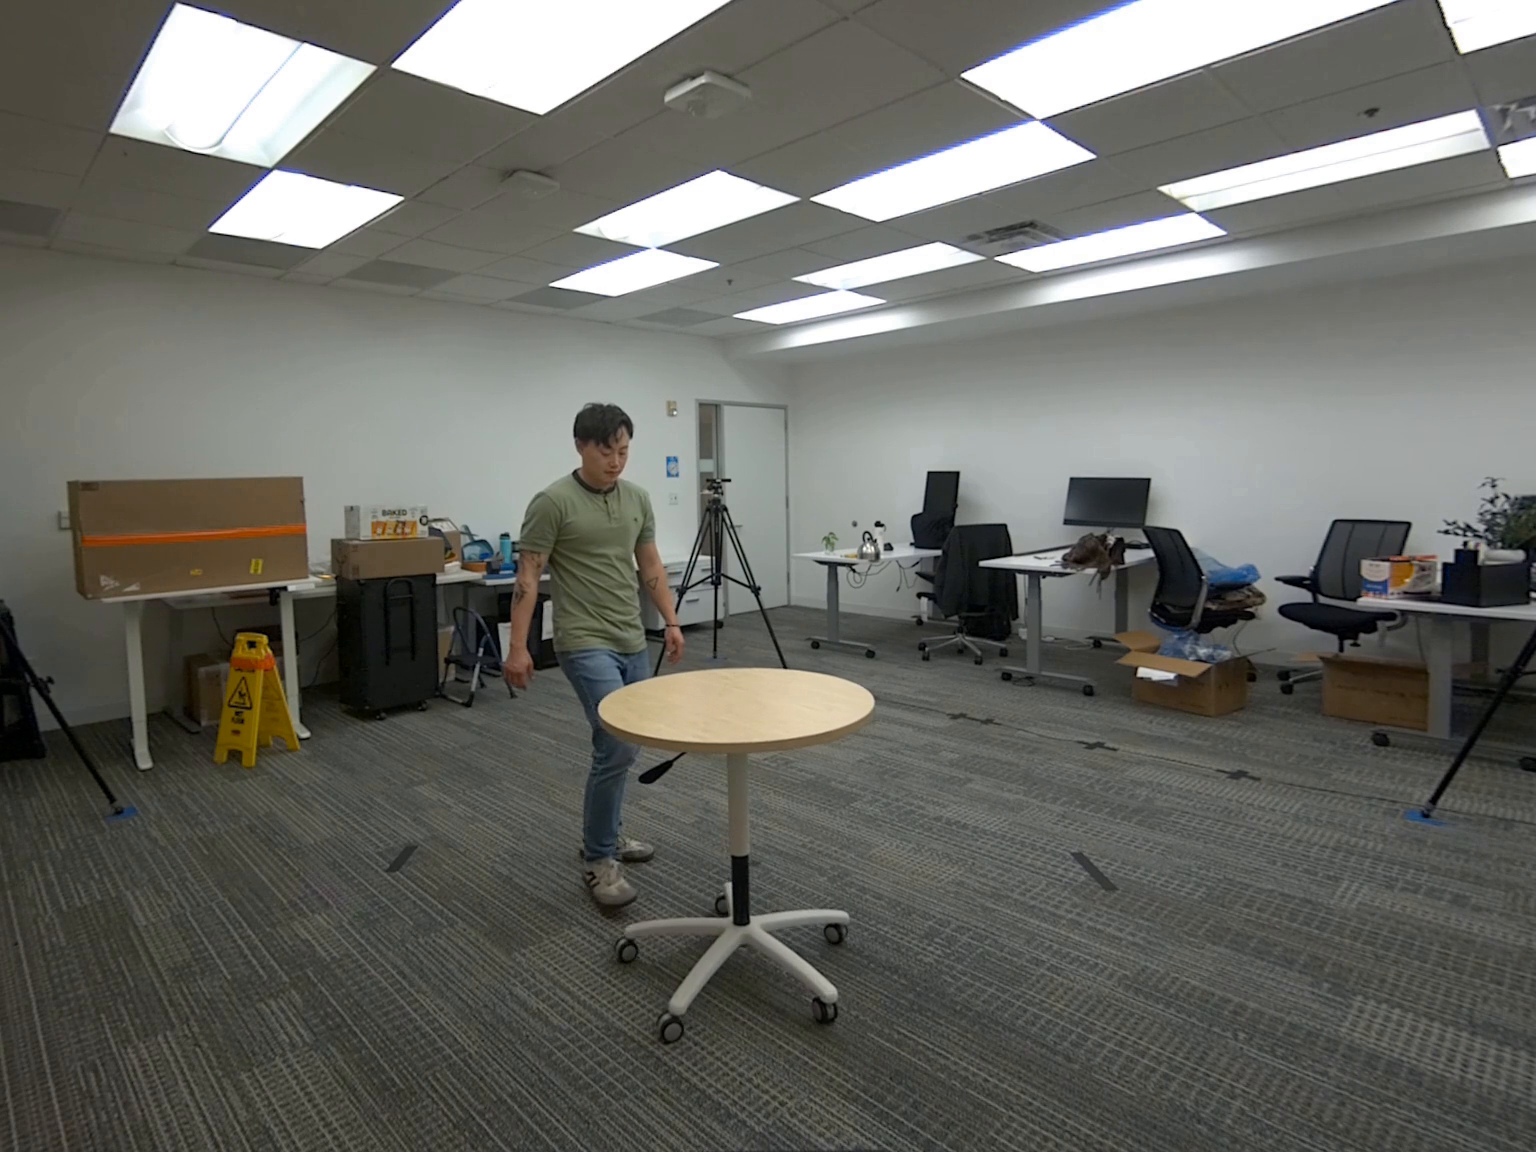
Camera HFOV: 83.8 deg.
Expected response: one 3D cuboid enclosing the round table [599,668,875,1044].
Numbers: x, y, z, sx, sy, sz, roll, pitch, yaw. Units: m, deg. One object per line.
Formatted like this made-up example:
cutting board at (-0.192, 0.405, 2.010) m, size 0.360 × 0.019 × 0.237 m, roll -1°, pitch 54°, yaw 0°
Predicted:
round table at (-0.078, 0.738, 2.413) m, size 0.763 × 0.790 × 0.768 m, roll -2°, pitch 5°, yaw -2°
